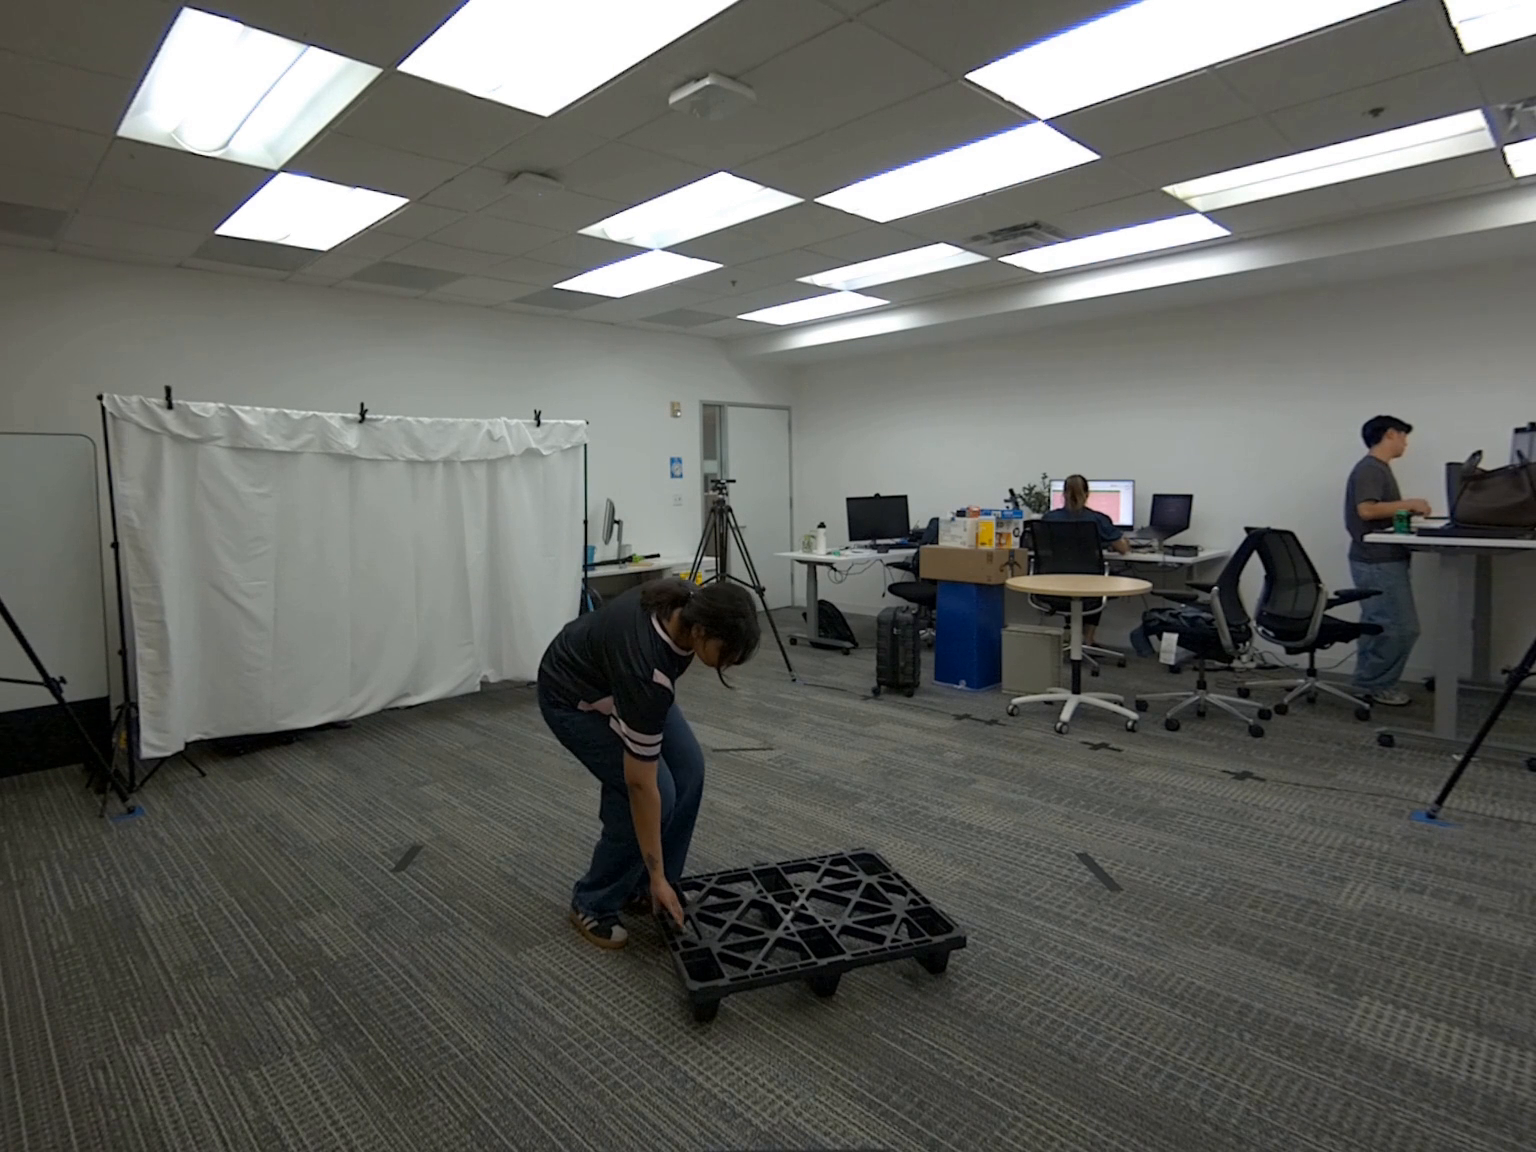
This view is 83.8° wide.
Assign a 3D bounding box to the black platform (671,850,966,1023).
[{"bbox_3d":[0.088,1.040,2.524,0.793,0.142,0.618,-4,8,-17],"label":"black platform"}]
